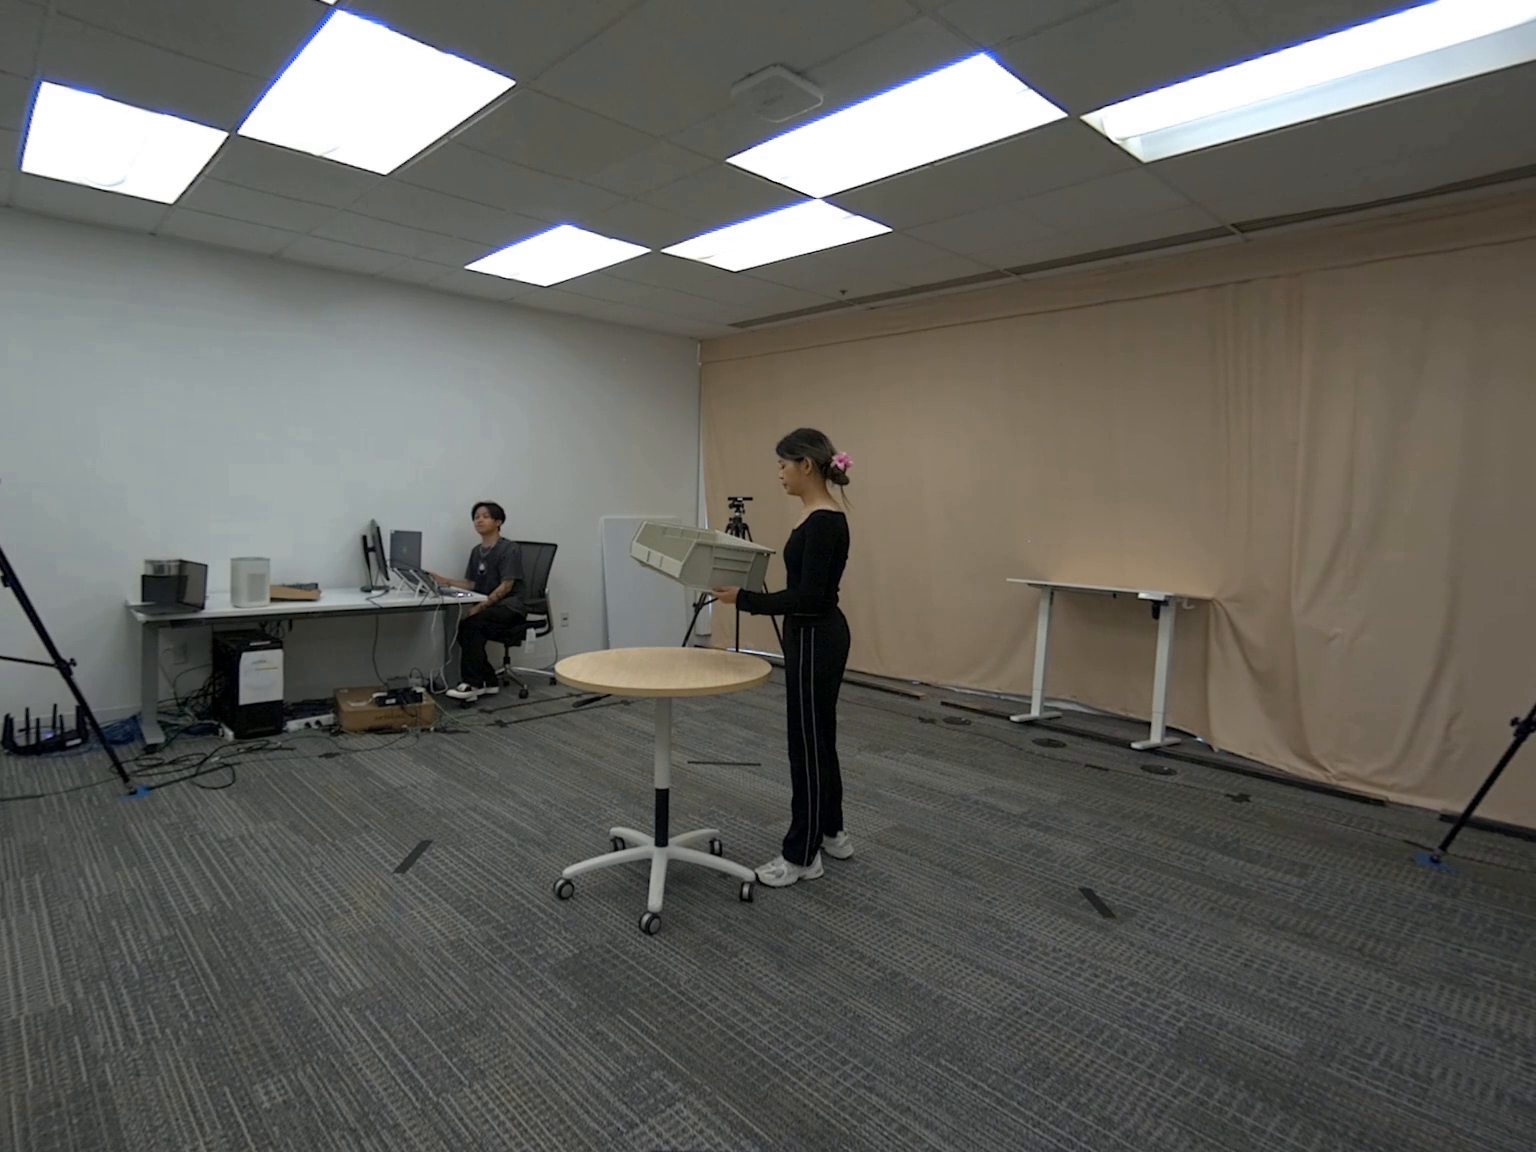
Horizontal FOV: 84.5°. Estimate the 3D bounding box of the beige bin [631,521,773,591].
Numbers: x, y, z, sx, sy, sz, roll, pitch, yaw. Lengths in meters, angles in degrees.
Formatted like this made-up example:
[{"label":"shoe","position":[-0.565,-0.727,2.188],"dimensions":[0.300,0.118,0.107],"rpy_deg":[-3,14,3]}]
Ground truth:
[{"label":"beige bin","position":[-0.258,-0.066,3.143],"dimensions":[0.368,0.188,0.434],"rpy_deg":[8,7,-34]}]
